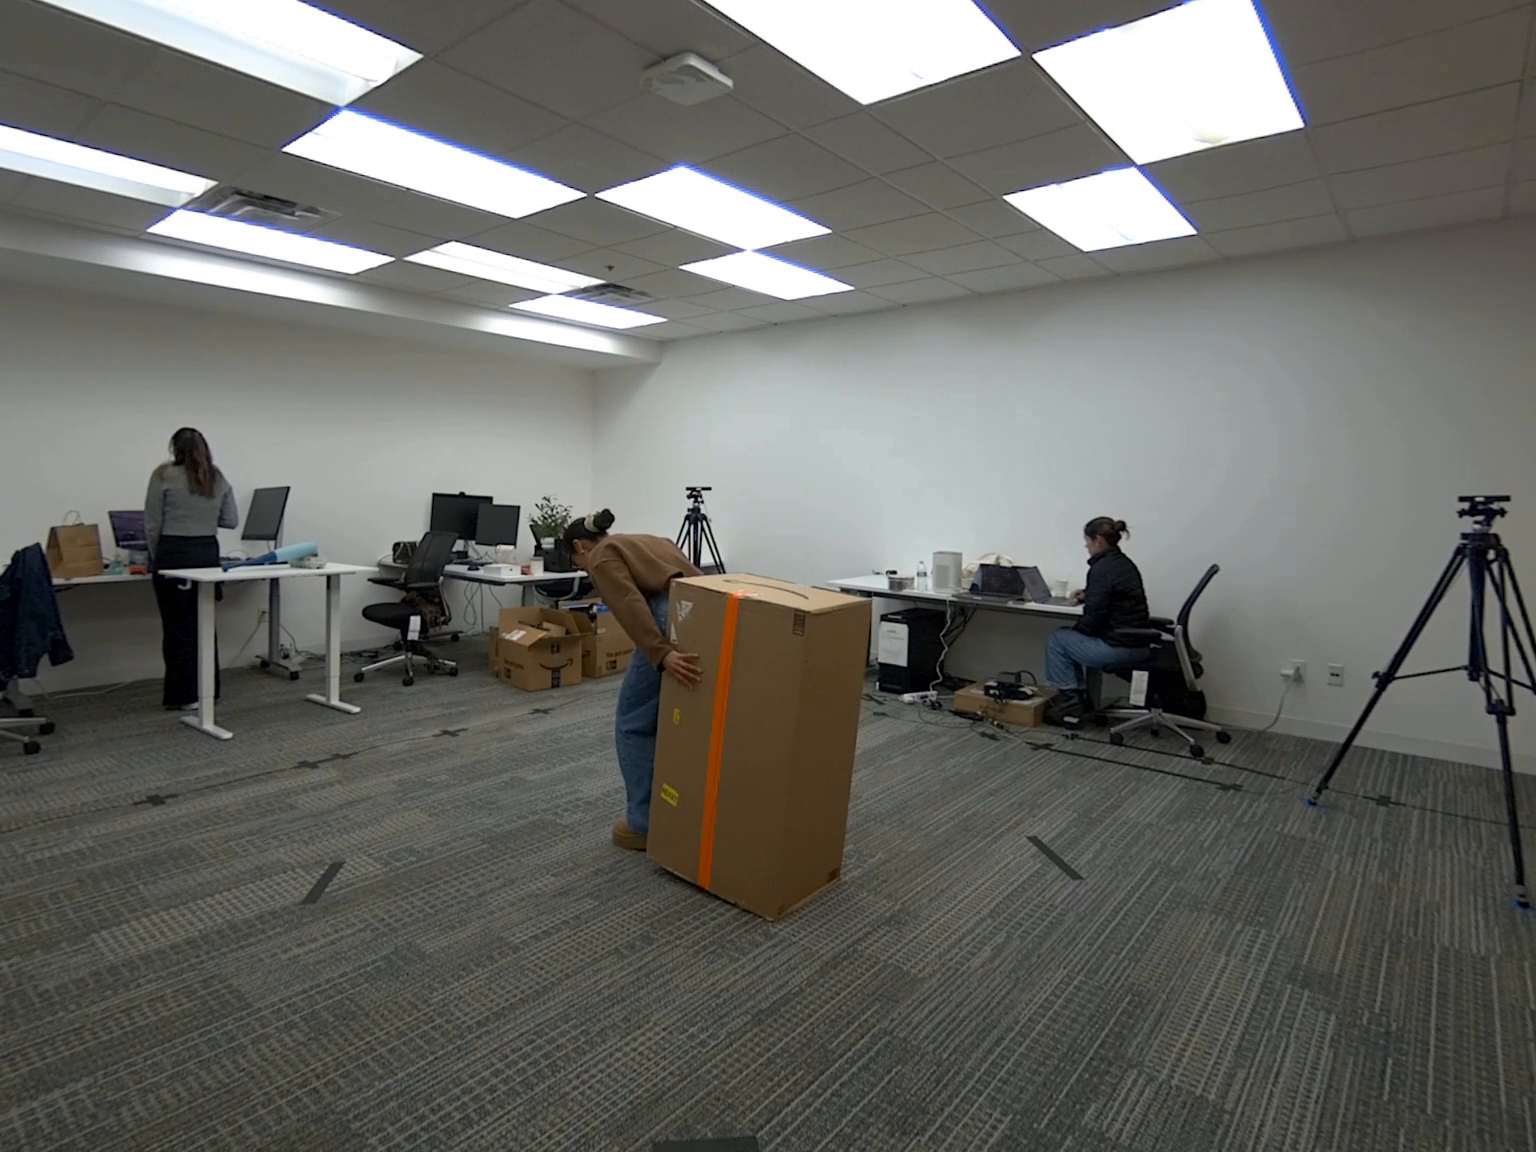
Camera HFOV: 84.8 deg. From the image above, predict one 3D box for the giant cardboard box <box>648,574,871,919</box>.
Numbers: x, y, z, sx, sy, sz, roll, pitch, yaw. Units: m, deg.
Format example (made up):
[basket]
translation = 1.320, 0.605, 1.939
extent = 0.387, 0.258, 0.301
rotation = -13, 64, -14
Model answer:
[giant cardboard box]
translation = -0.048, 0.550, 3.001
extent = 0.604, 1.022, 0.434
rotation = 10, 7, 36
